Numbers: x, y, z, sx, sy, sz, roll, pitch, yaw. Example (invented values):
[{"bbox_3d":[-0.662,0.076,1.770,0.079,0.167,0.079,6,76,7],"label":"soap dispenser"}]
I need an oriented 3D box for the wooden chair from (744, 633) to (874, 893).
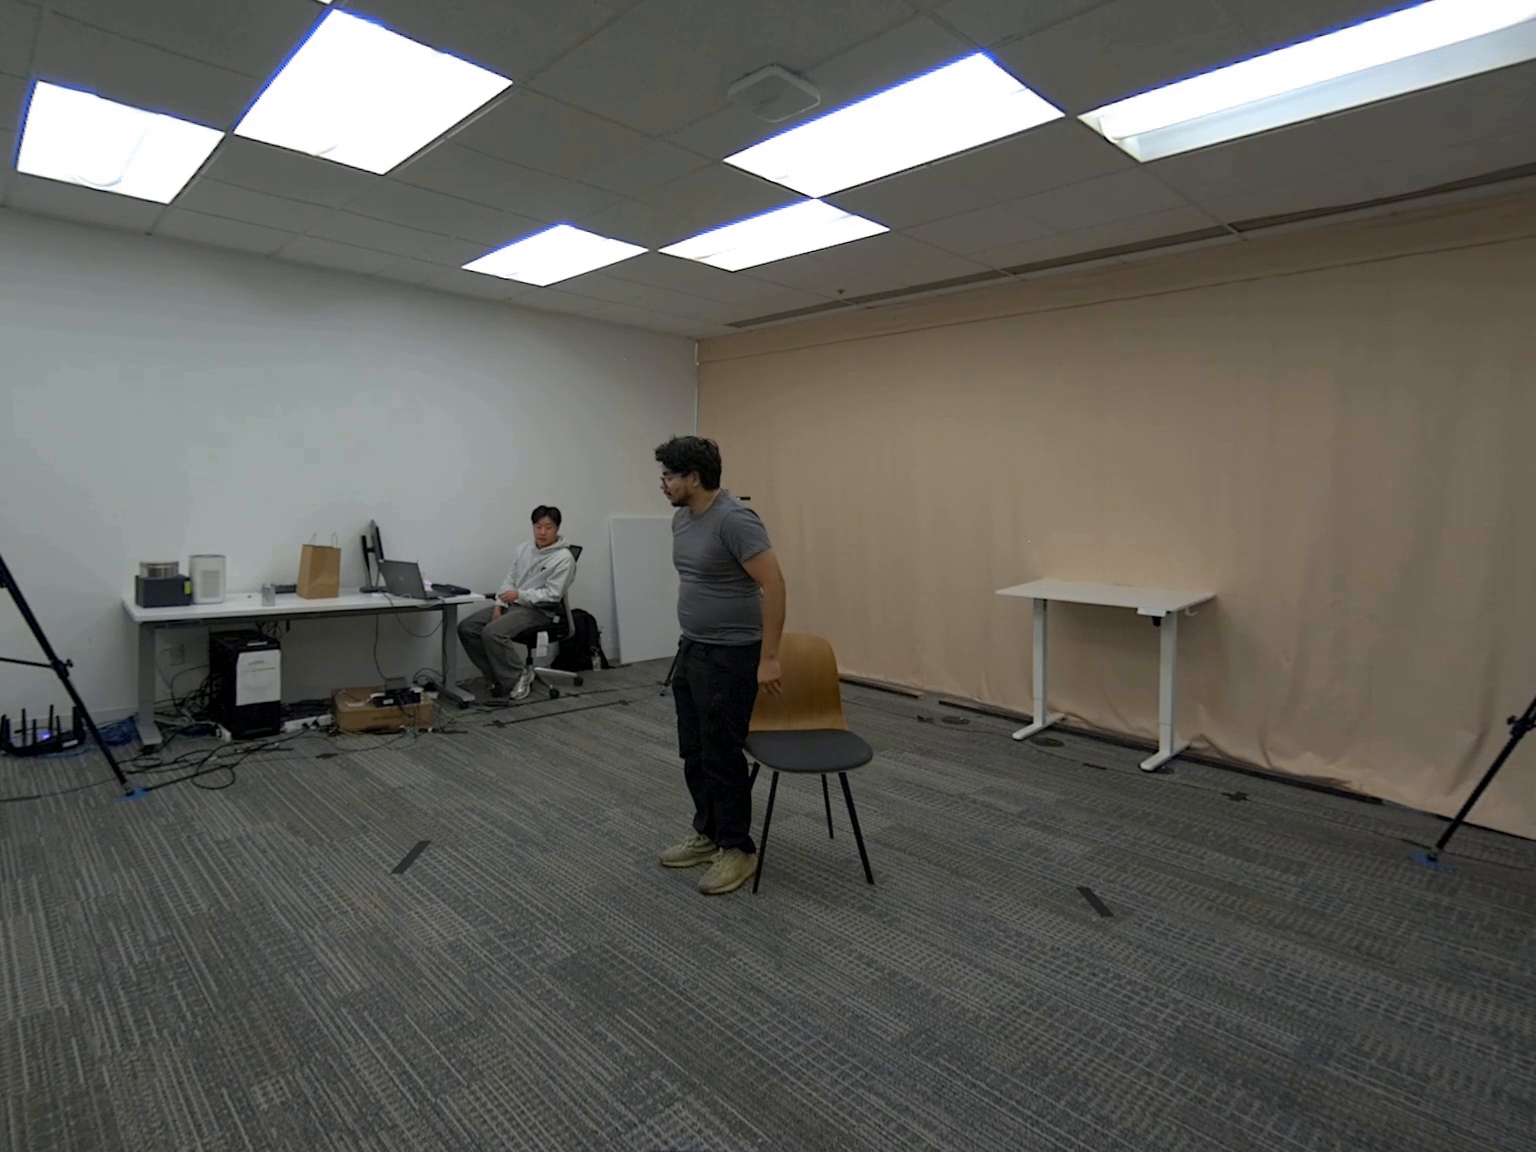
[{"bbox_3d":[0.121,0.679,3.197,0.473,0.878,0.528,1,-1,-14],"label":"wooden chair"}]
